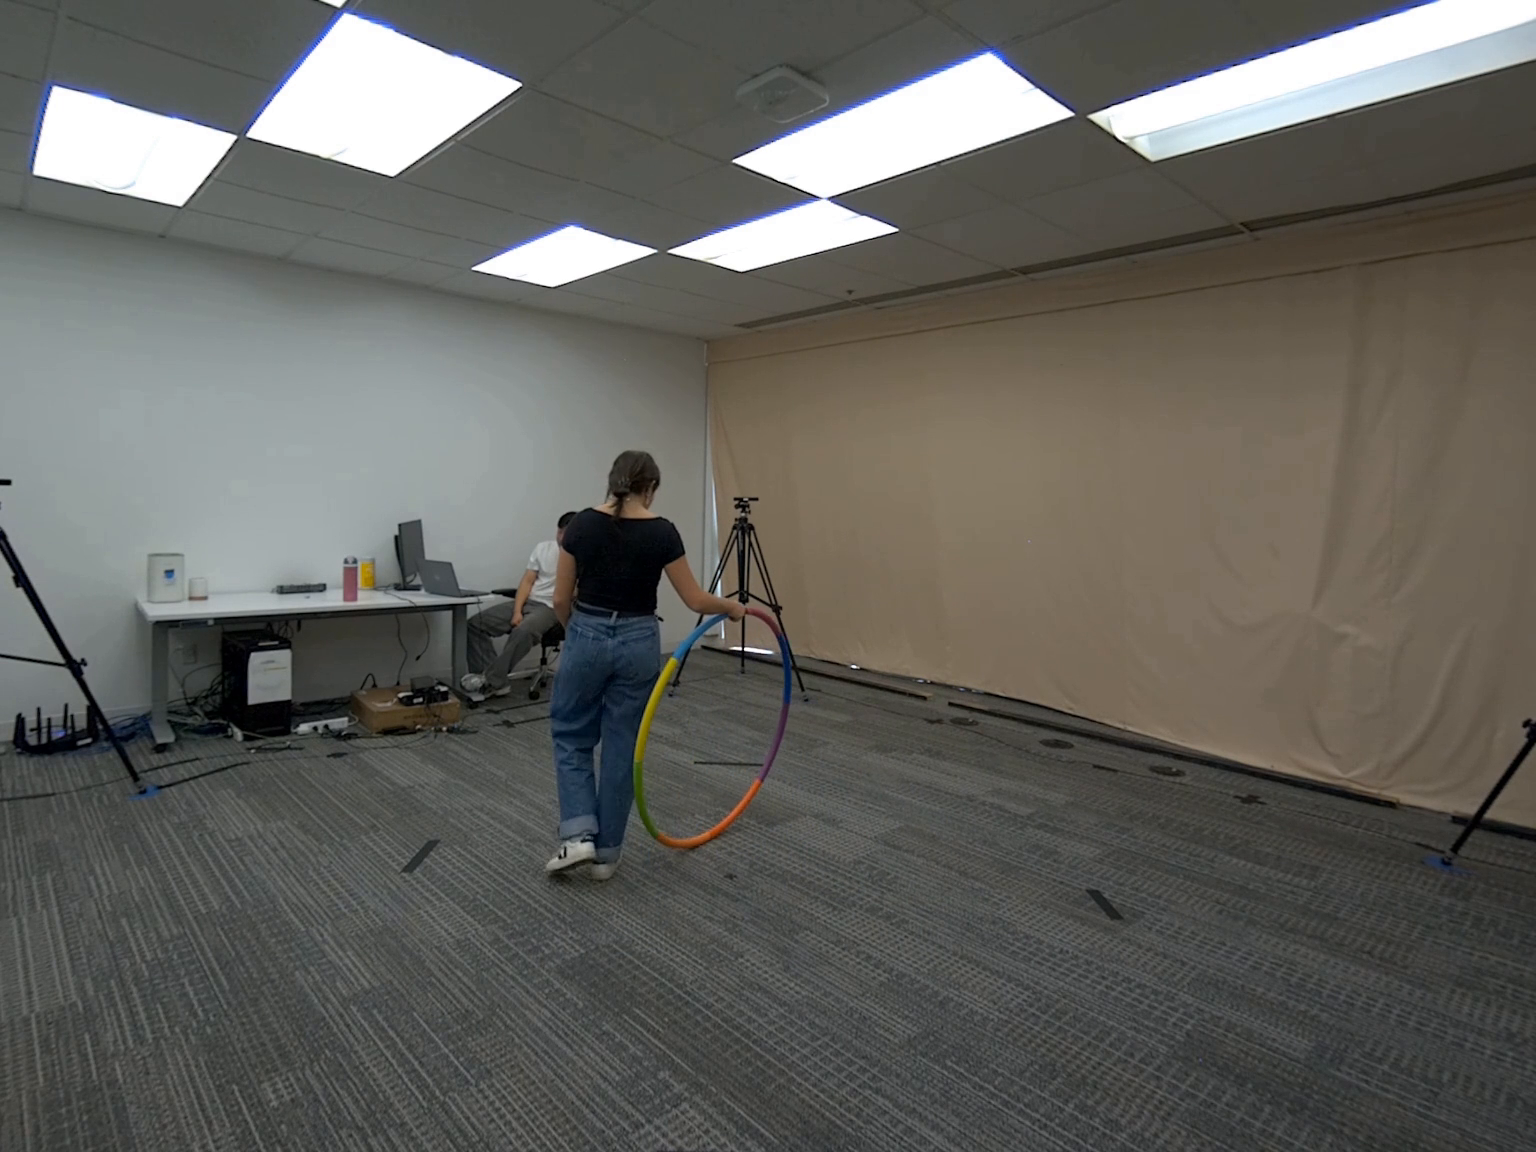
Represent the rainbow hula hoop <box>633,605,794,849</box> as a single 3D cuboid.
[{"bbox_3d":[-0.185,0.600,3.345,0.036,0.973,0.958,14,10,32],"label":"rainbow hula hoop"}]
